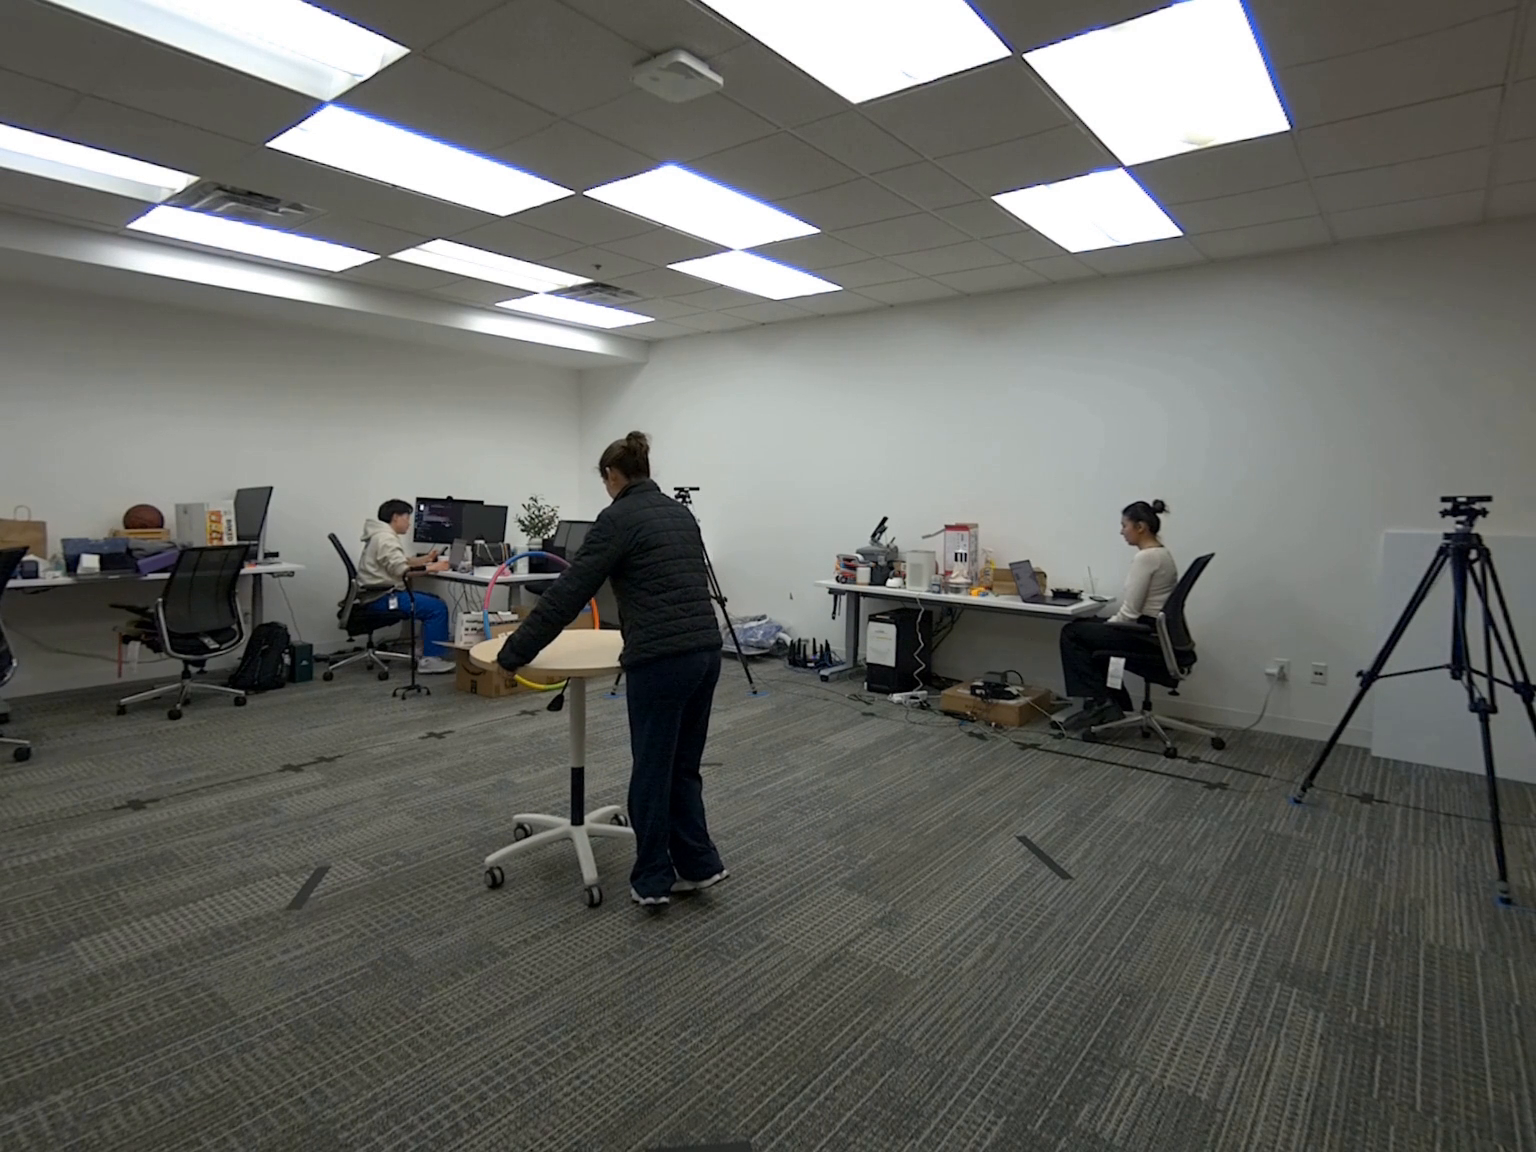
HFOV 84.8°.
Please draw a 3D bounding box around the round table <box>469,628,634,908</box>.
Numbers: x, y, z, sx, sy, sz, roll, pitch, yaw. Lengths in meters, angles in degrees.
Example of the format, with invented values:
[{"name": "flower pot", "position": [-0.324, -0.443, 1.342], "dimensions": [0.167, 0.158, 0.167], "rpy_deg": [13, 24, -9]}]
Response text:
[{"name": "round table", "position": [-0.678, 0.653, 3.152], "dimensions": [0.784, 0.784, 0.789], "rpy_deg": [0, 4, -2]}]
